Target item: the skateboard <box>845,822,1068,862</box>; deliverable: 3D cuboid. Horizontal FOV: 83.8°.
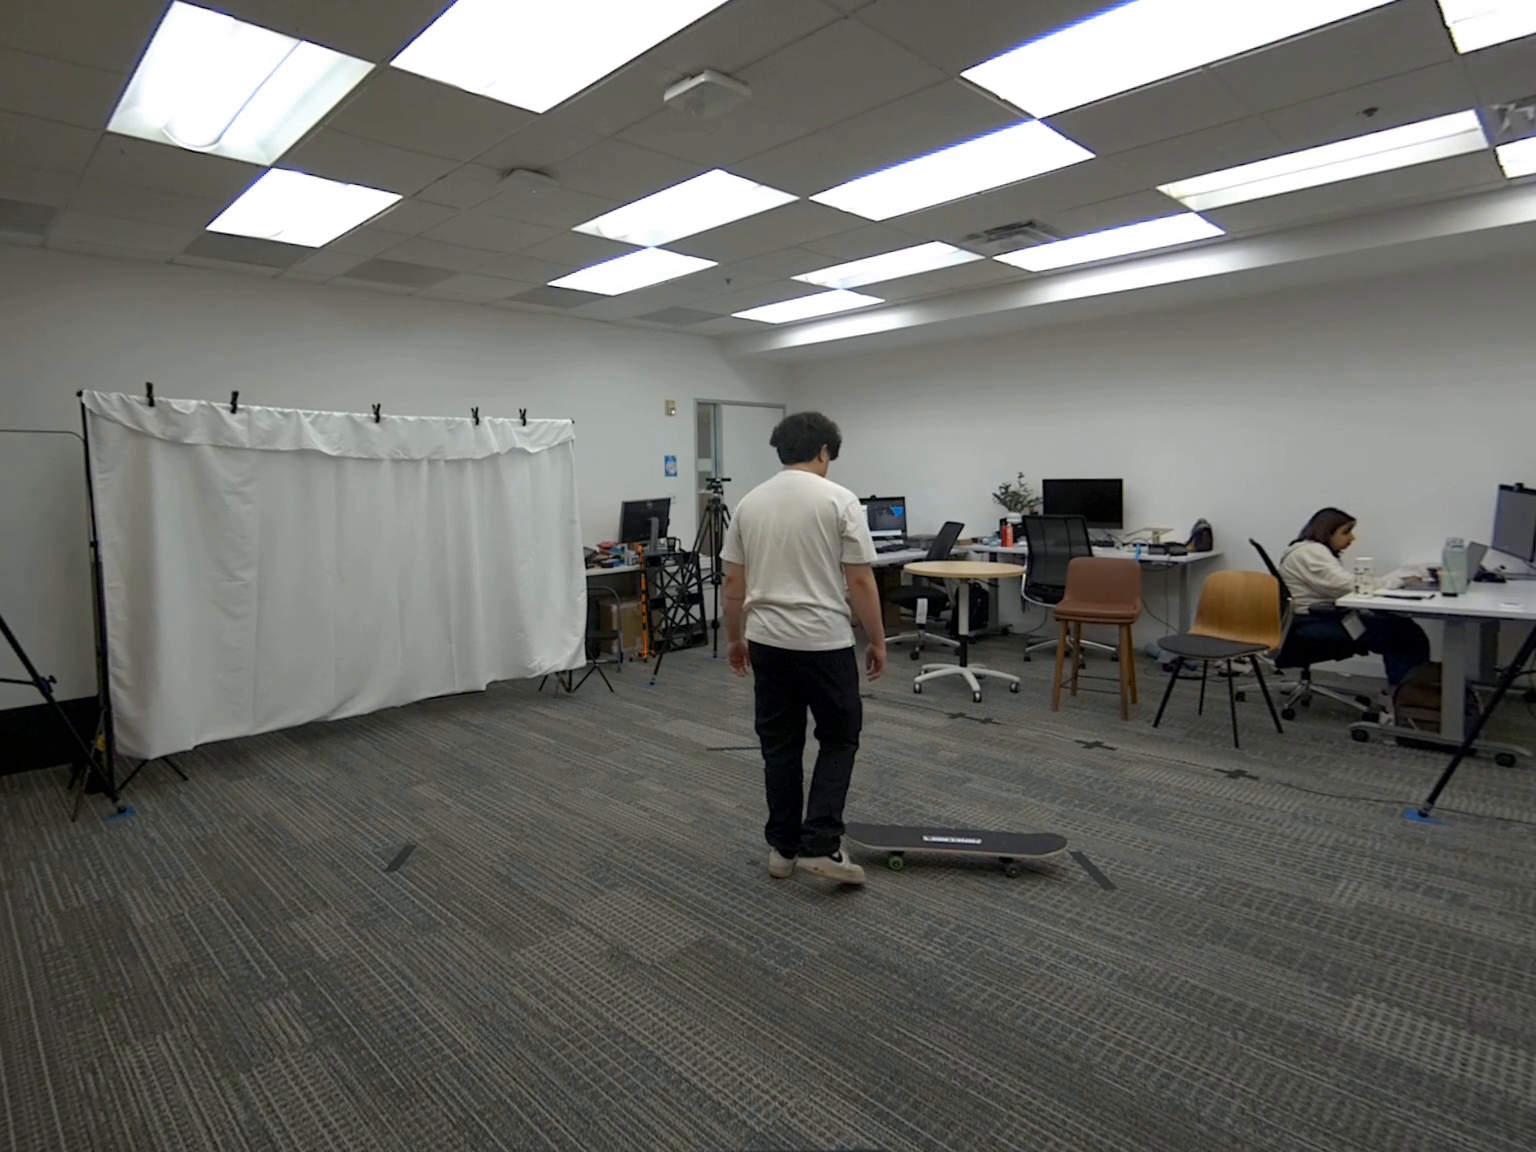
[{"bbox_3d":[0.651,0.973,3.073,0.793,0.110,0.192,0,4,10],"label":"skateboard"}]
